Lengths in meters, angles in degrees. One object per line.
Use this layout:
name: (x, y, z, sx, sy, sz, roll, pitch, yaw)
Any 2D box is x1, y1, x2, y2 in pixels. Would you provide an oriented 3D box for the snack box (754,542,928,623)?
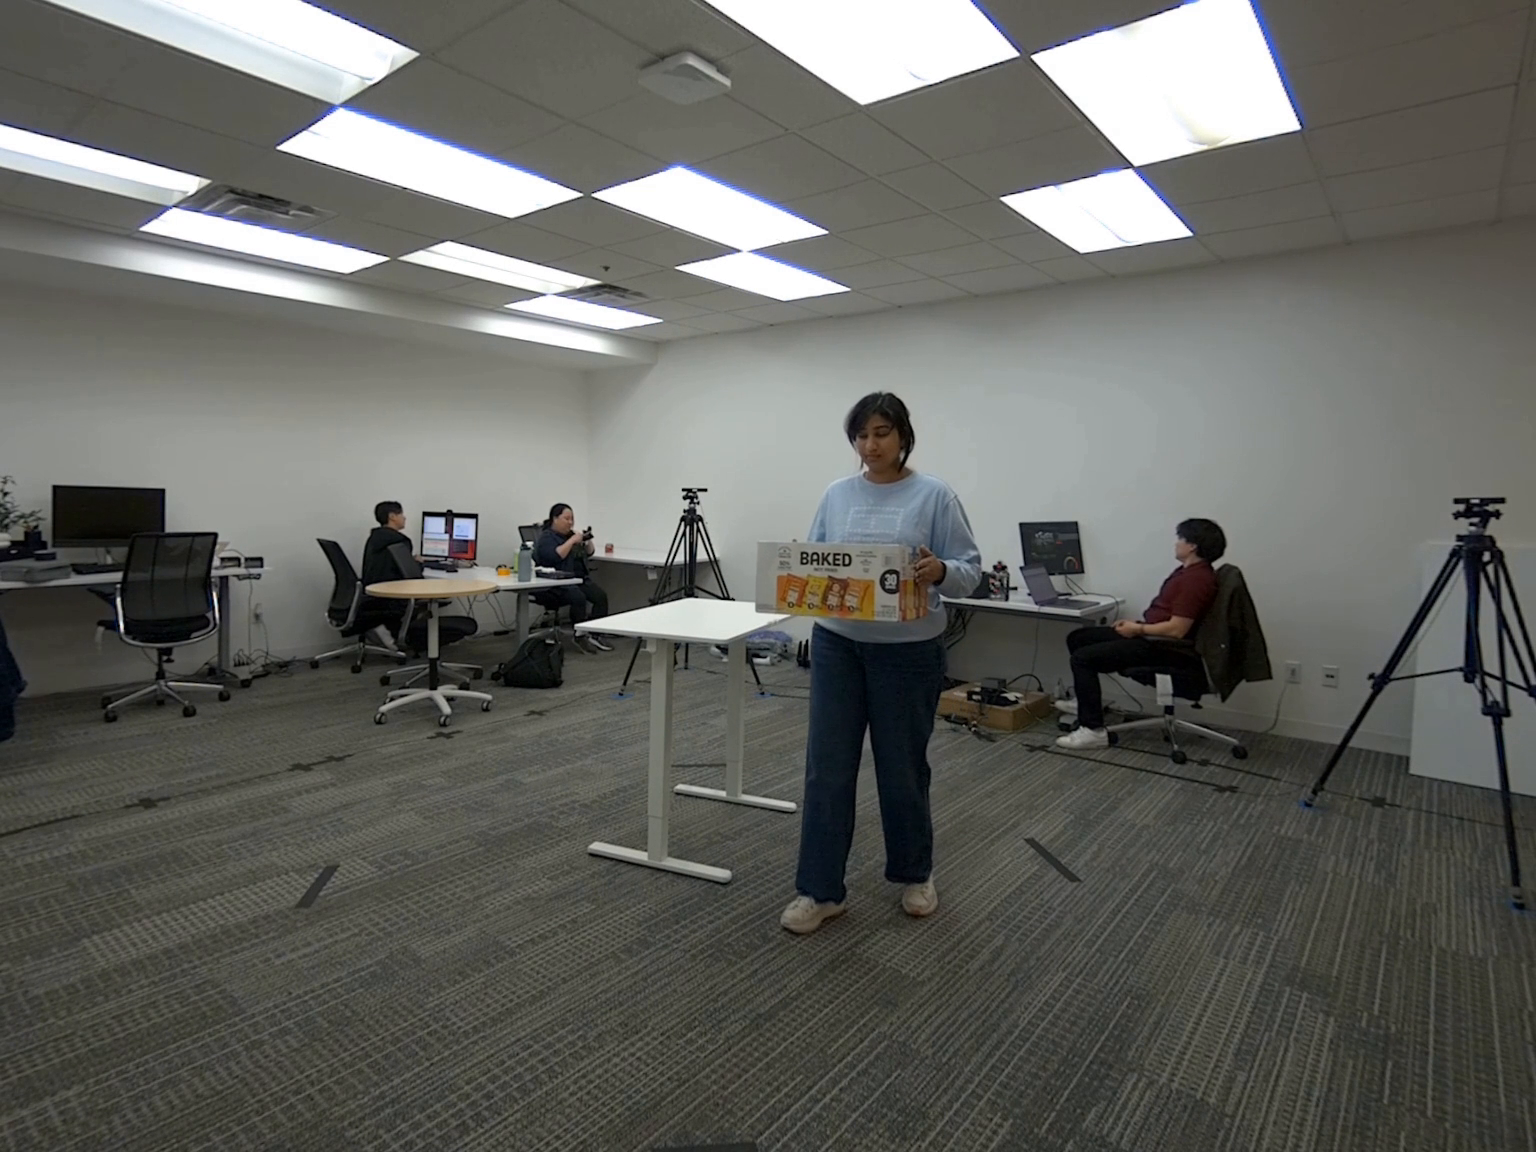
snack box: (0.212, 0.009, 2.437, 0.415, 0.206, 0.332, 2, 0, 24)
